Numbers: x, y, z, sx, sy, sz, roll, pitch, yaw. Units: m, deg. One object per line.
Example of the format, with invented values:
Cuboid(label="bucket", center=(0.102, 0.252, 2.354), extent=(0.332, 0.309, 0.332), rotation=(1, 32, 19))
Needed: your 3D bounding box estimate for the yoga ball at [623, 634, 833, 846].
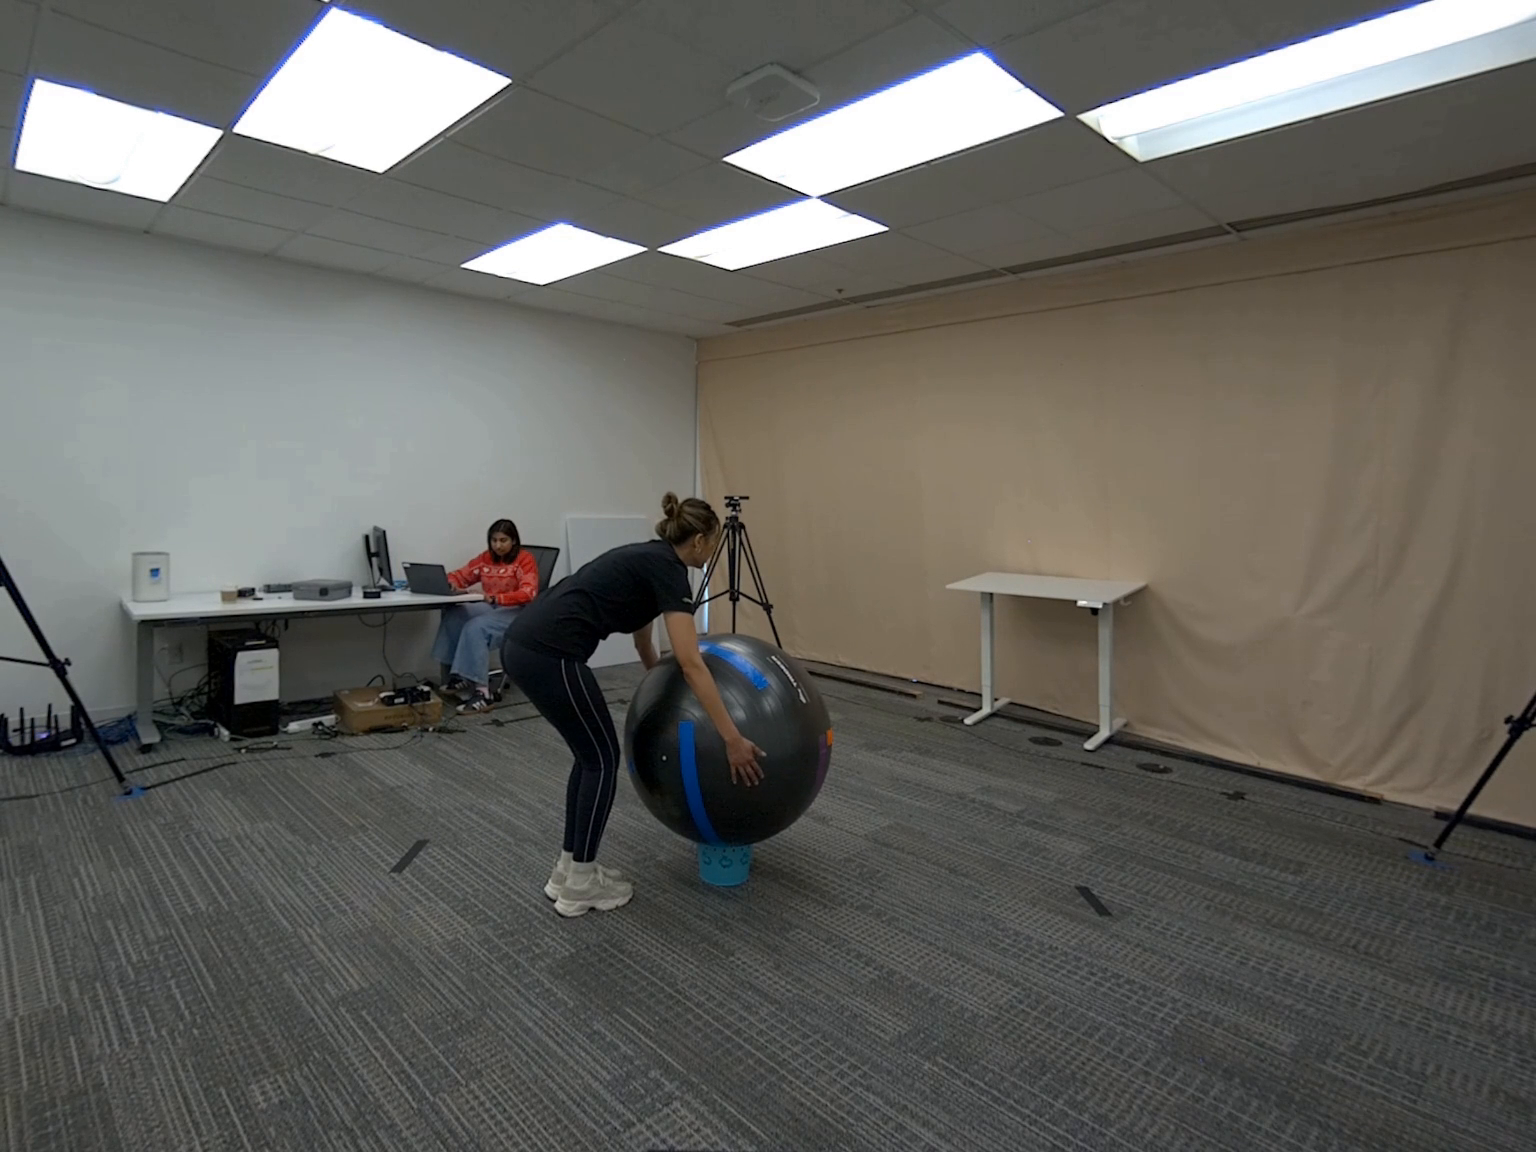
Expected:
Cuboid(label="yoga ball", center=(-0.150, 0.589, 3.079), extent=(0.757, 0.756, 0.761), rotation=(1, 4, -1))
